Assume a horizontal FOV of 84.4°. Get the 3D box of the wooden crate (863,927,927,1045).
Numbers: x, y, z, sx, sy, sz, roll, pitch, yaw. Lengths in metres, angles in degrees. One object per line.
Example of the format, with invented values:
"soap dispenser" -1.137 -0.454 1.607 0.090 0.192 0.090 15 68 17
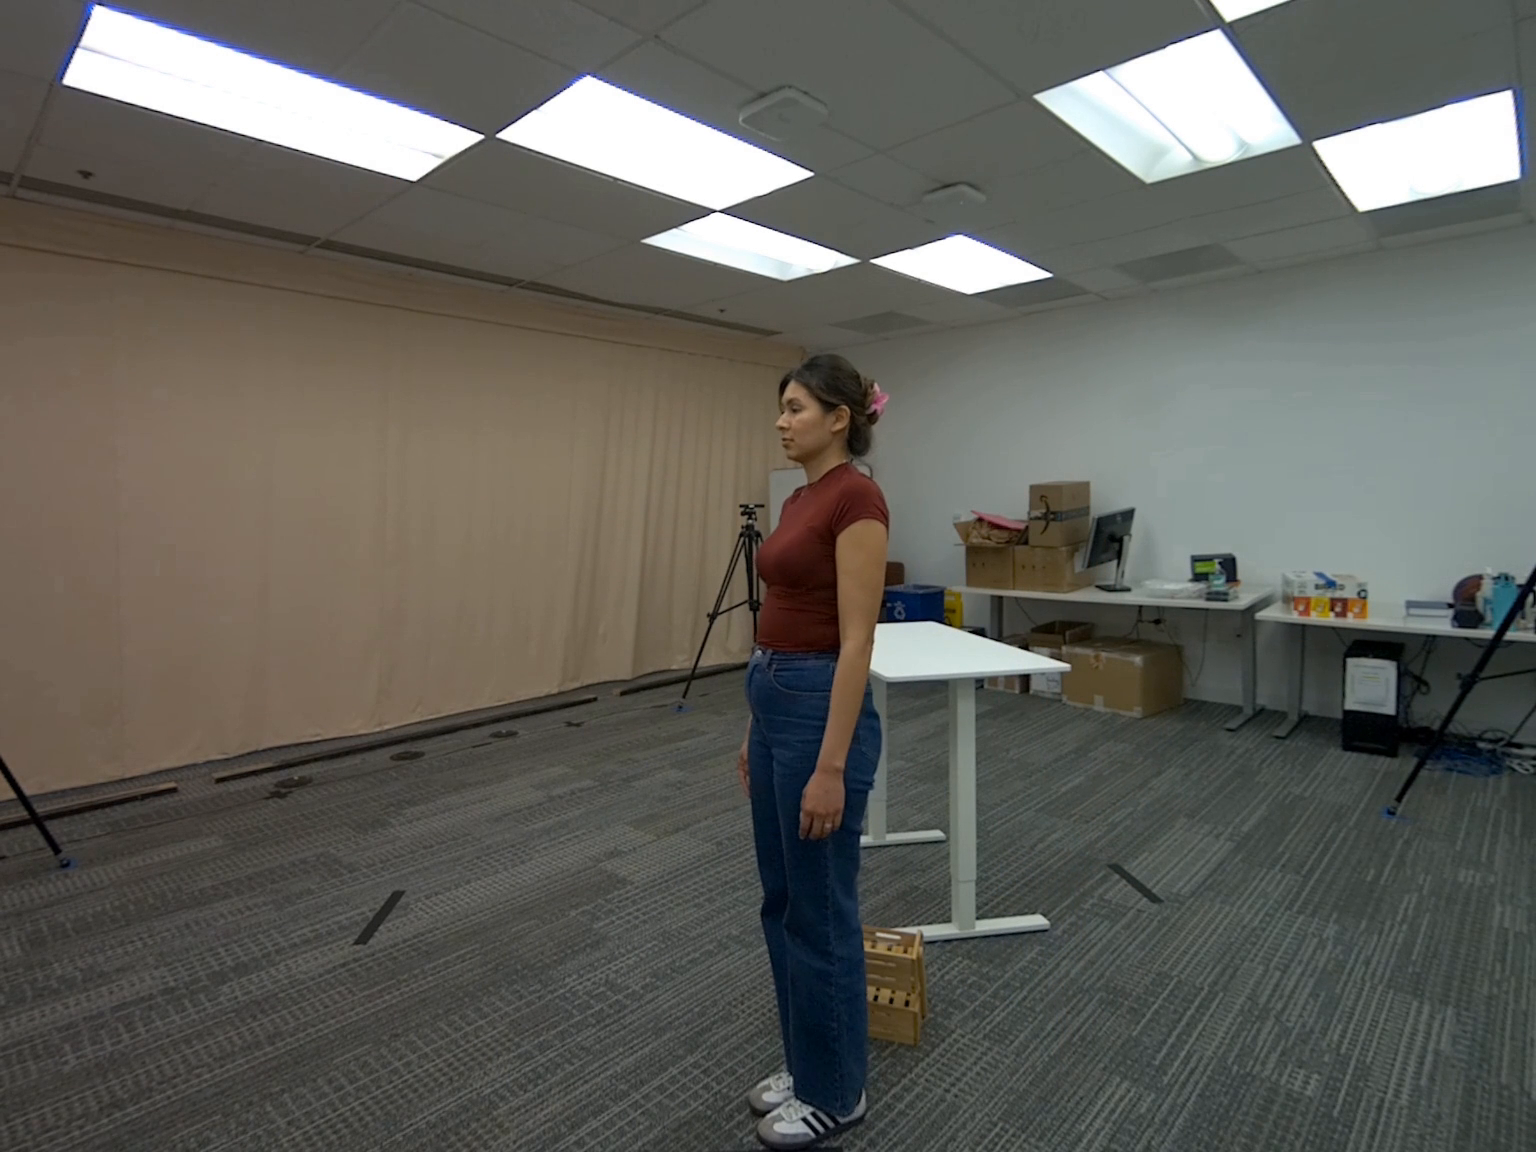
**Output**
"wooden crate" 0.268 1.064 2.284 0.331 0.272 0.297 1 5 17
